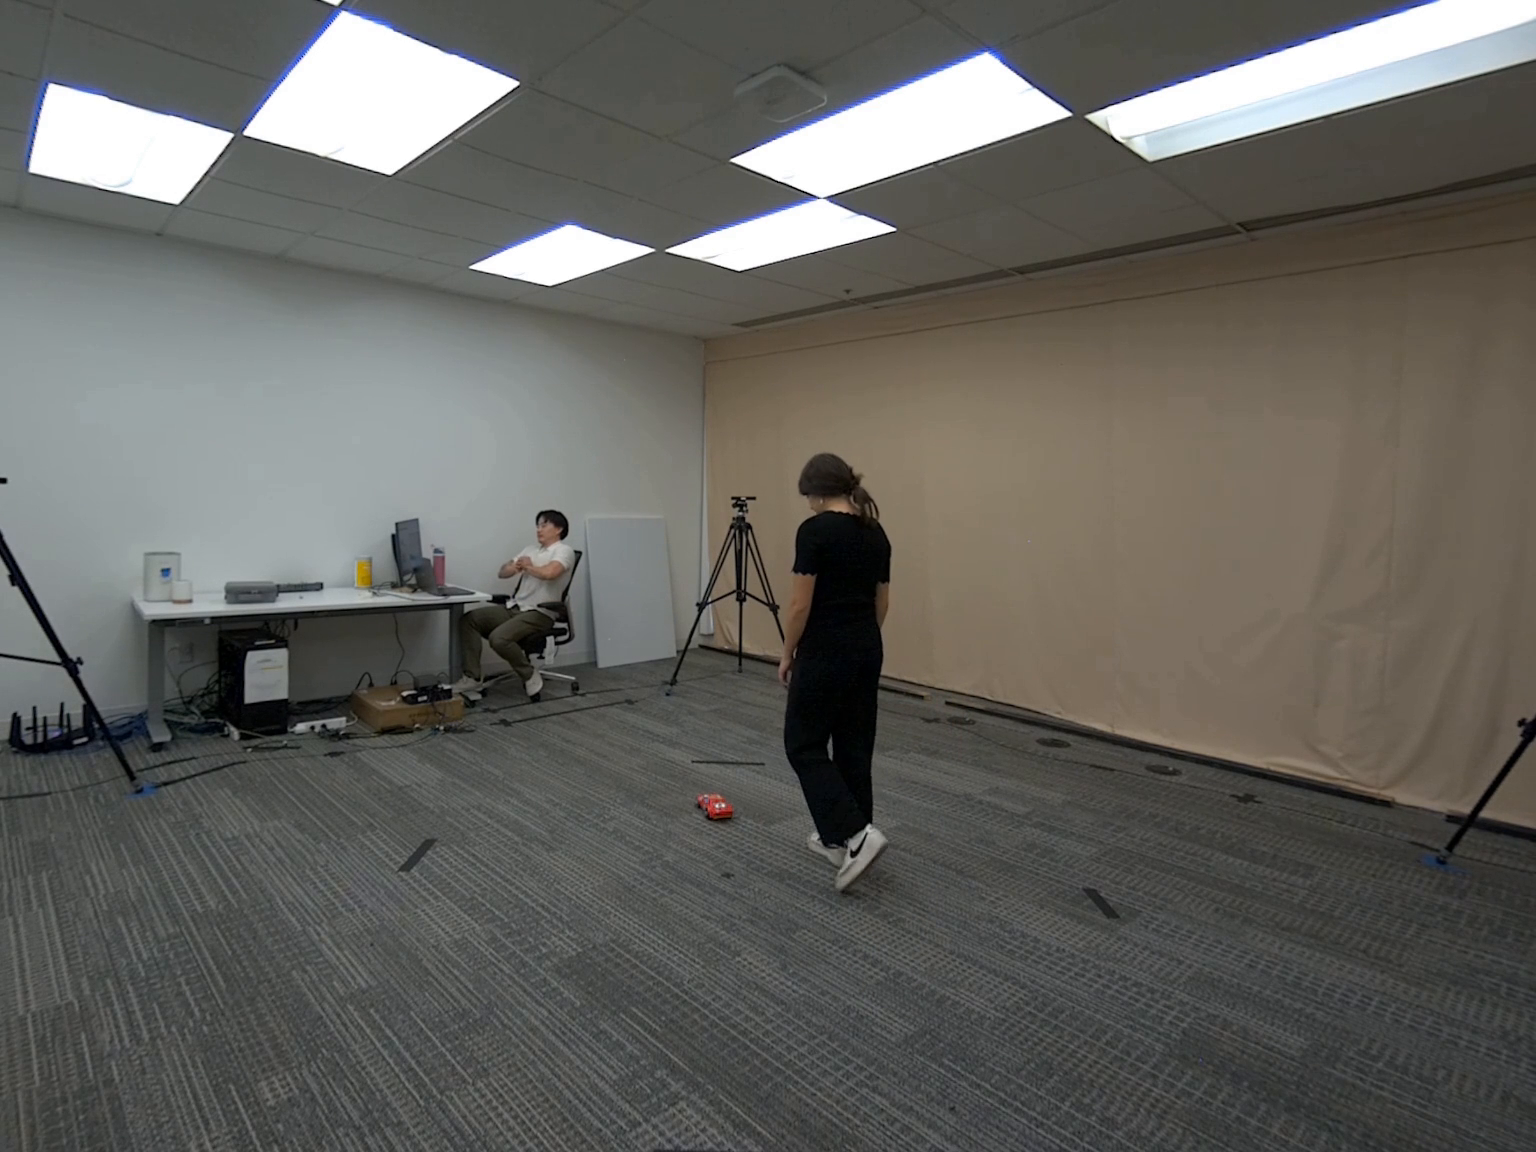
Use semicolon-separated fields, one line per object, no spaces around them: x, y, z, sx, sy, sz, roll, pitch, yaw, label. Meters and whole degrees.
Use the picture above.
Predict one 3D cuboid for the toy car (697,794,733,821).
-0.241;1.019;3.717;0.128;0.083;0.257;1;-5;-20;toy car
